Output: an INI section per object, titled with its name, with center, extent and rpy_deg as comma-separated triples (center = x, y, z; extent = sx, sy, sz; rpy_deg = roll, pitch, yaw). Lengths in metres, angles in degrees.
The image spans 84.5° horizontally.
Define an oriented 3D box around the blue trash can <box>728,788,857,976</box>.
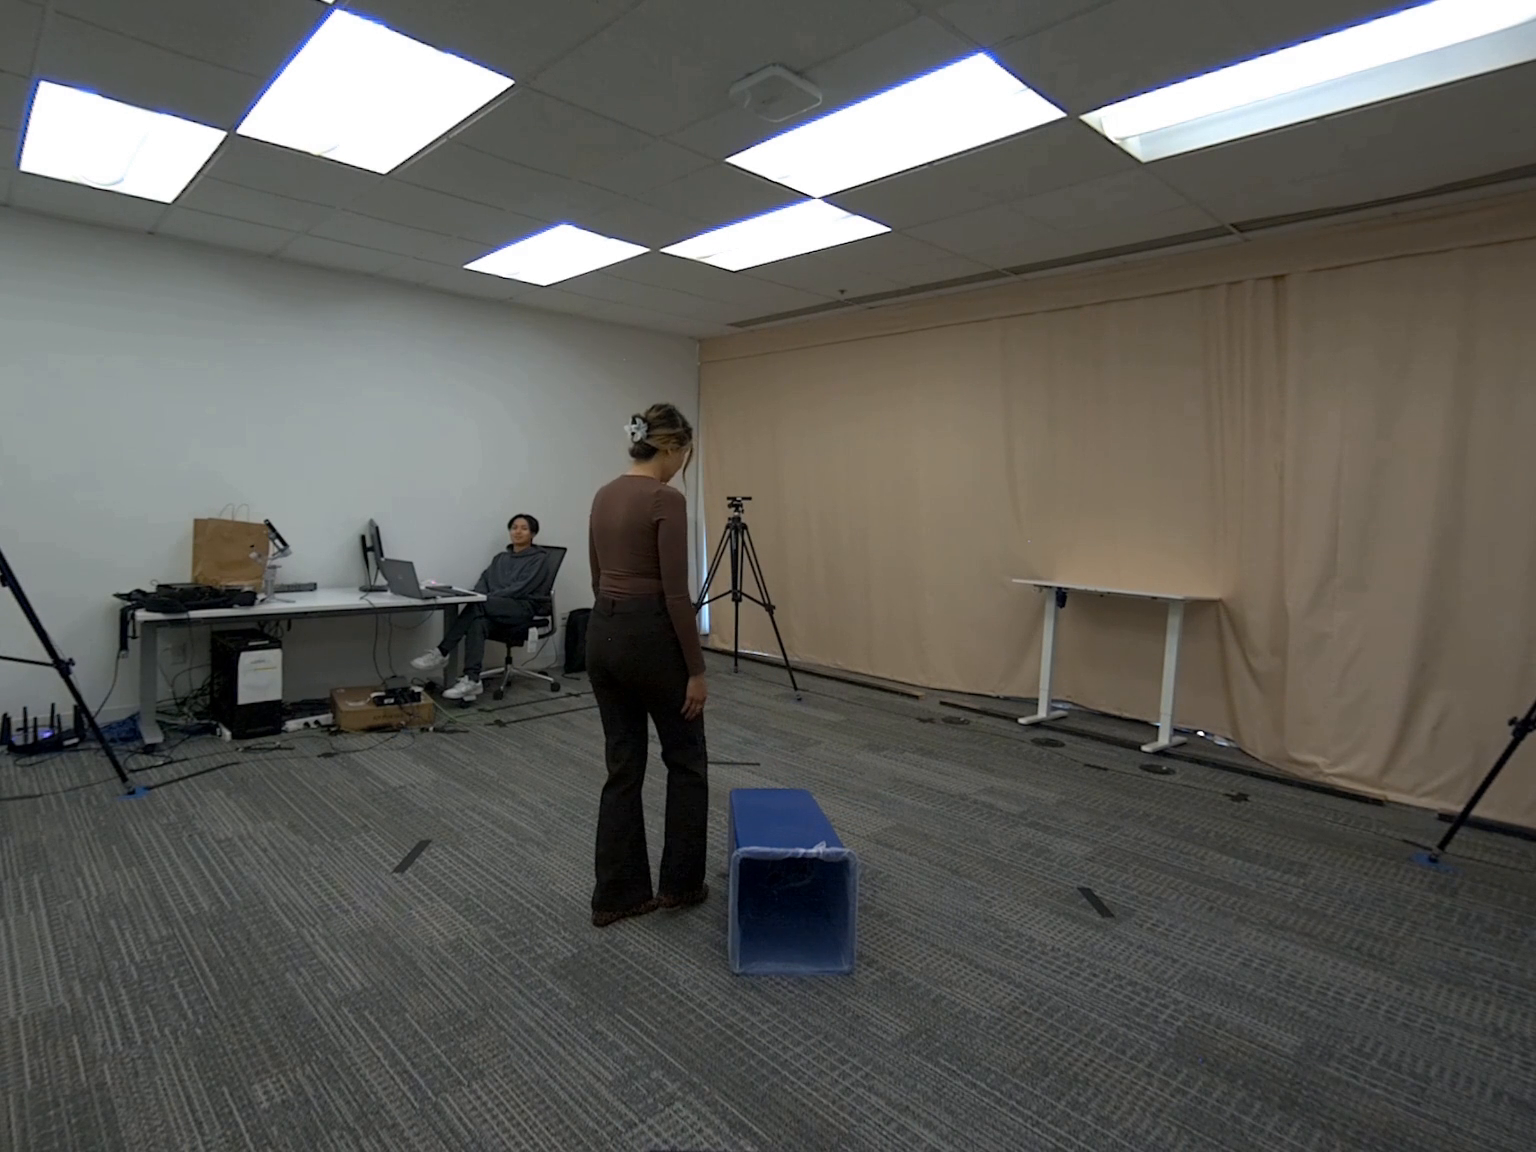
[blue trash can]
center = 0.031, 0.974, 2.811
extent = 0.372, 0.378, 0.717
rpy_deg = 0, 2, -6
